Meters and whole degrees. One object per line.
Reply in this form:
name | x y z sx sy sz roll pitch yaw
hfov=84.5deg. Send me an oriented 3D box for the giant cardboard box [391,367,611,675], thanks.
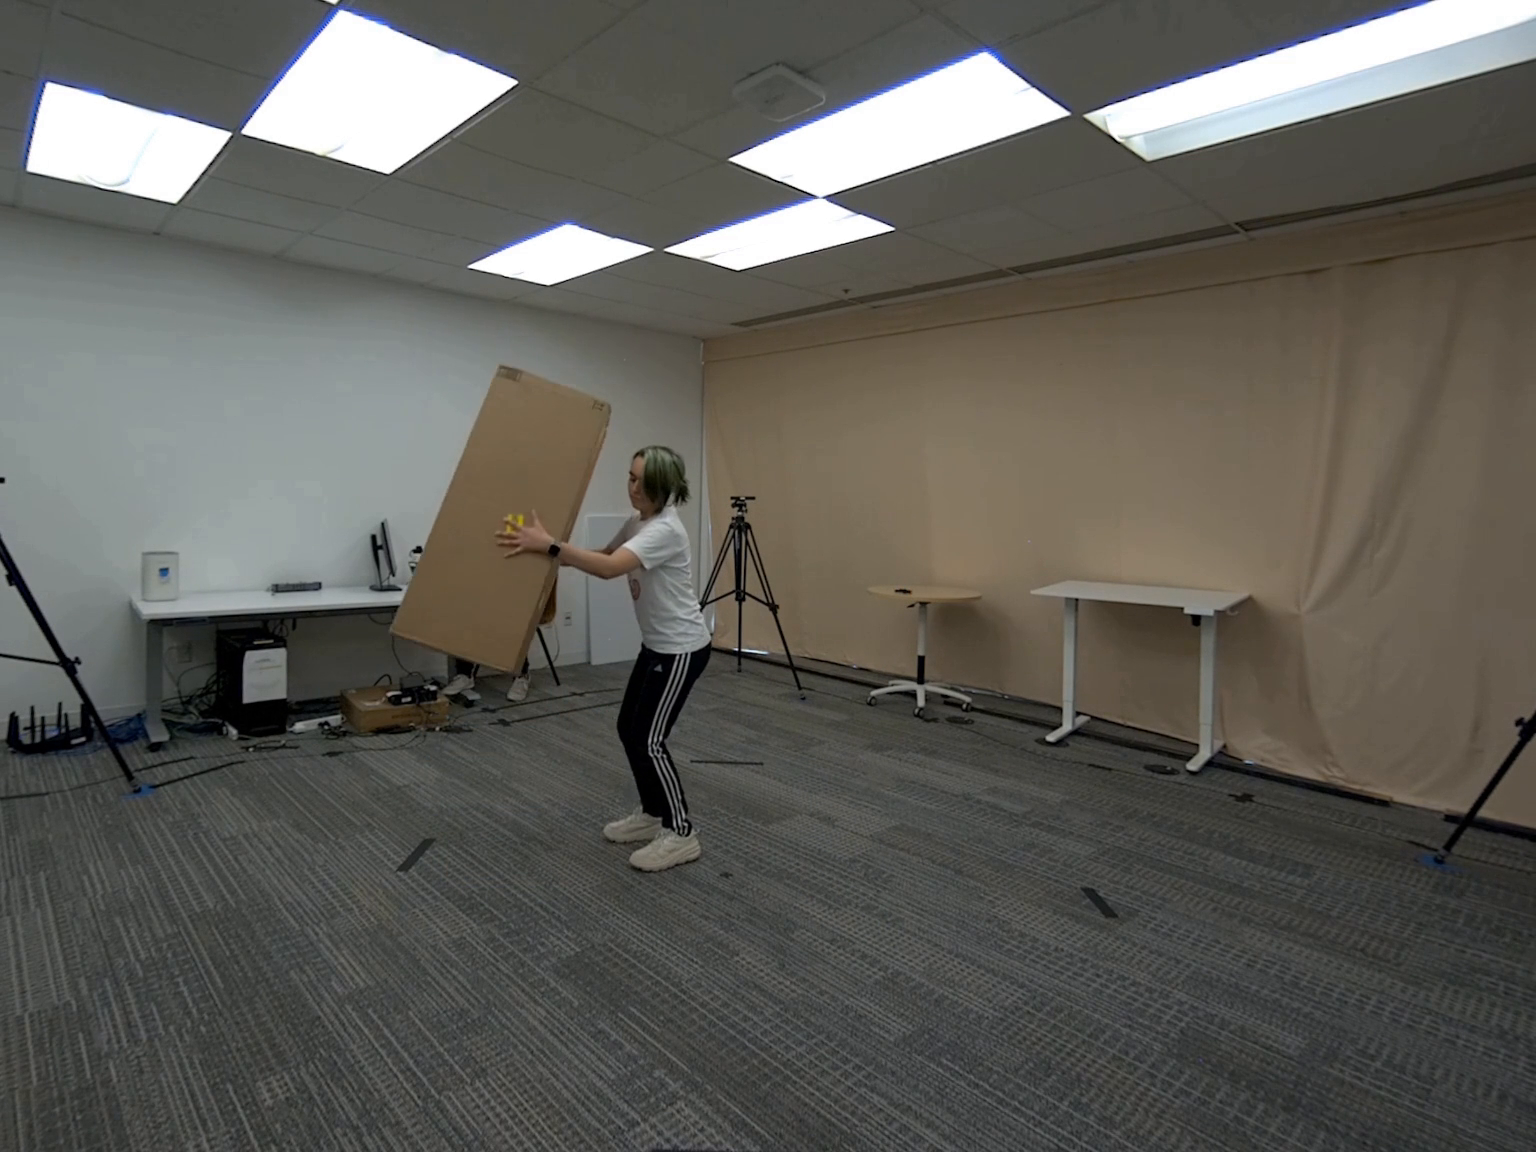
giant cardboard box | -0.980 -0.173 3.184 0.442 1.033 0.587 20 -14 -12
